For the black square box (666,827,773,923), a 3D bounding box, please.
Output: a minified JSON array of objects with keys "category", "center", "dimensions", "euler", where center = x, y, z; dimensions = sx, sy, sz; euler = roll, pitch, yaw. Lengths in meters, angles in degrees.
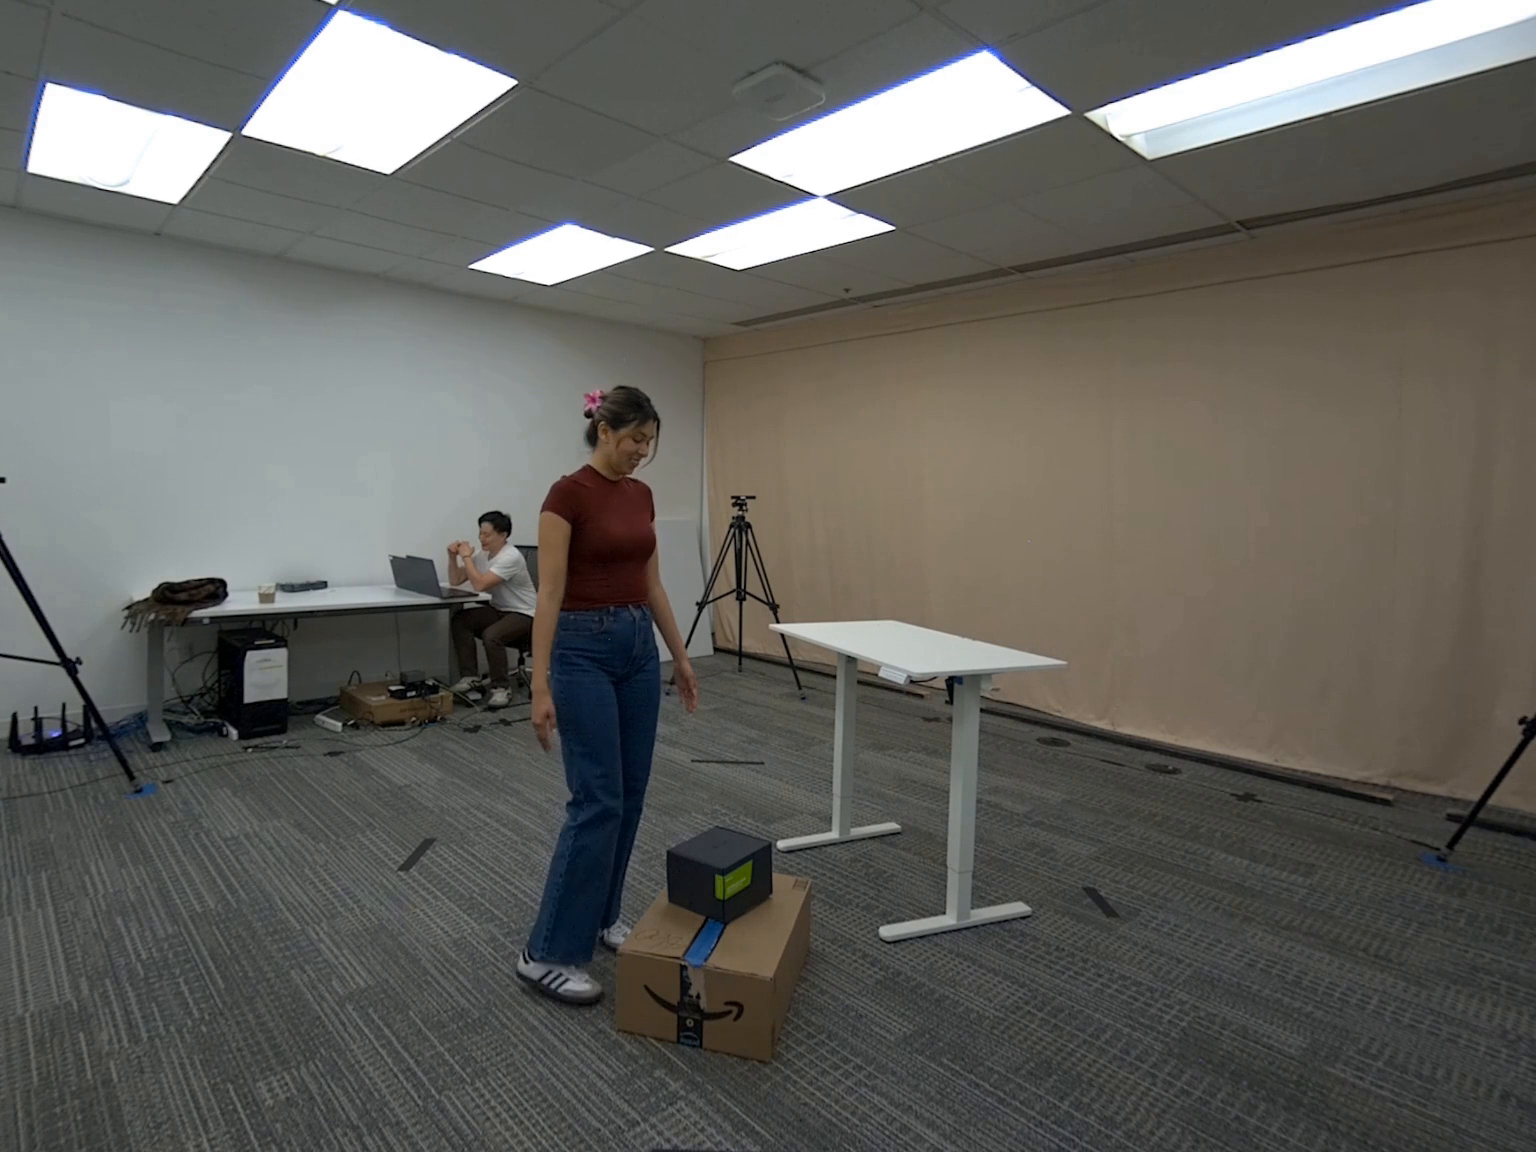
[{"category":"black square box","center":[-0.146,0.861,2.445],"dimensions":[0.222,0.155,0.223],"euler":[3,6,37]}]
